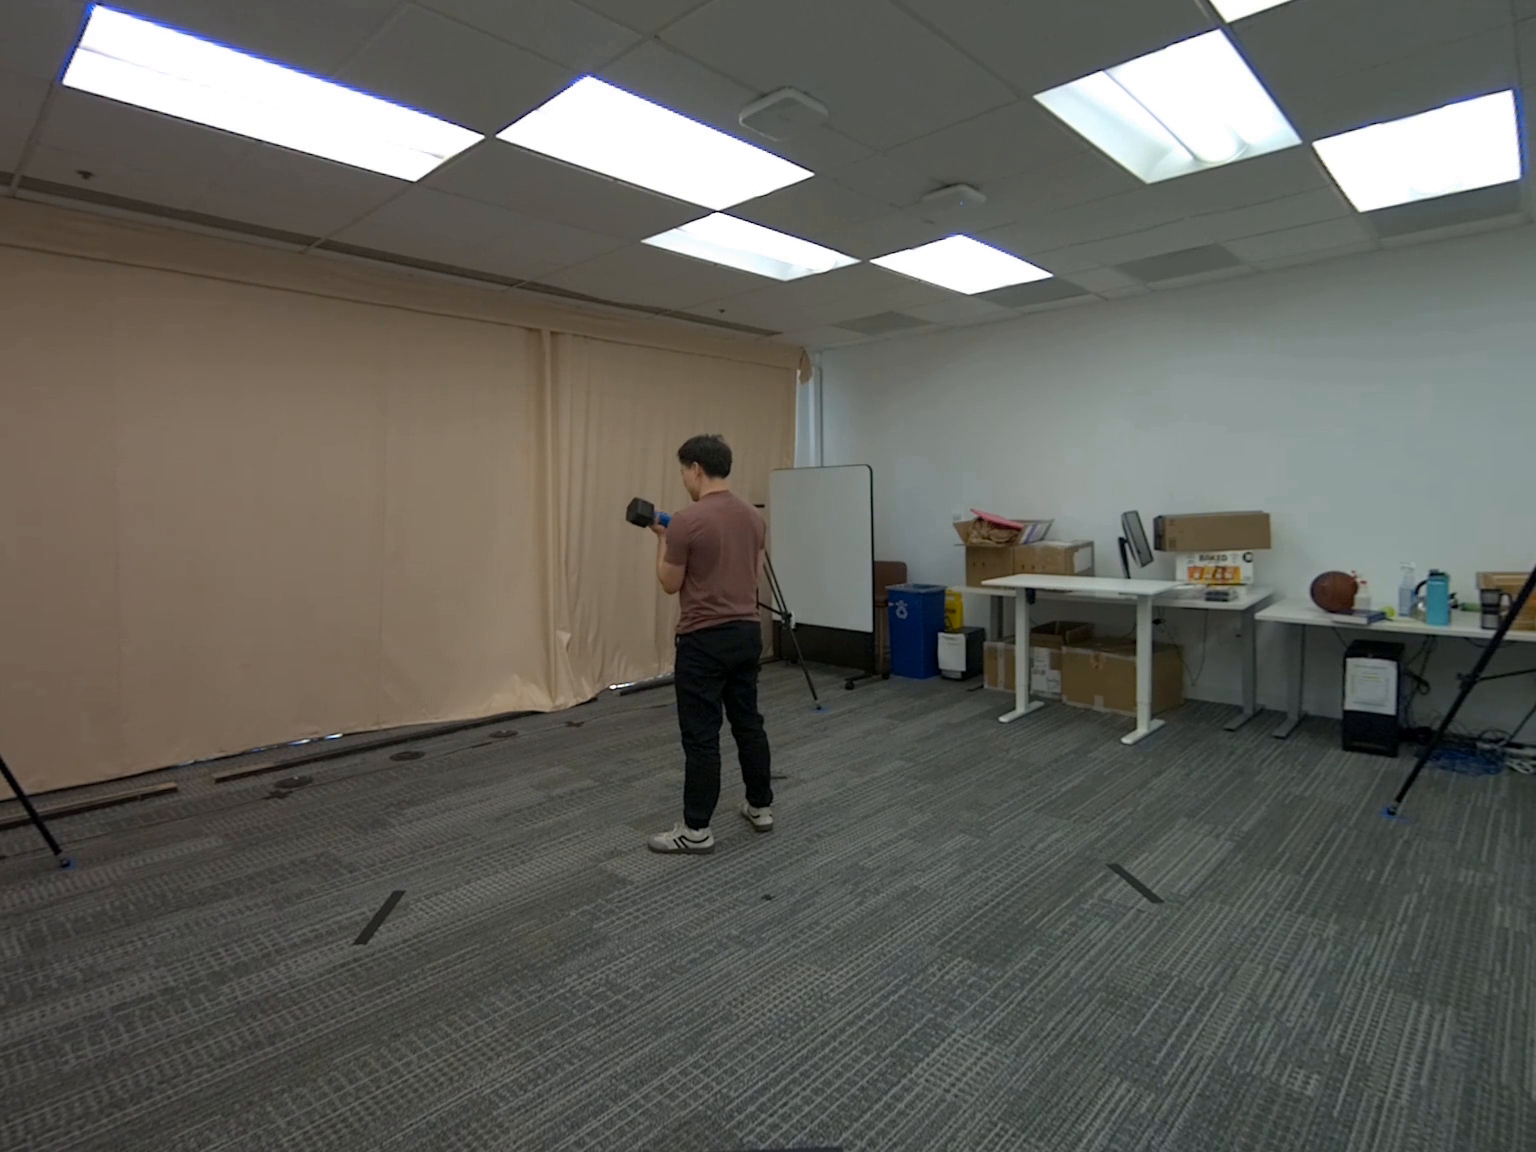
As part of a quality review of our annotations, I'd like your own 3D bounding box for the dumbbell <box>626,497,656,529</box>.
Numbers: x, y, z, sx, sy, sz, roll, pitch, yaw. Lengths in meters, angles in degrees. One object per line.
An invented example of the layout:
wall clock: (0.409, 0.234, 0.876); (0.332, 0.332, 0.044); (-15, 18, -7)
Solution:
dumbbell: (-0.455, -0.232, 3.553); (0.283, 0.108, 0.127); (20, 4, -36)
